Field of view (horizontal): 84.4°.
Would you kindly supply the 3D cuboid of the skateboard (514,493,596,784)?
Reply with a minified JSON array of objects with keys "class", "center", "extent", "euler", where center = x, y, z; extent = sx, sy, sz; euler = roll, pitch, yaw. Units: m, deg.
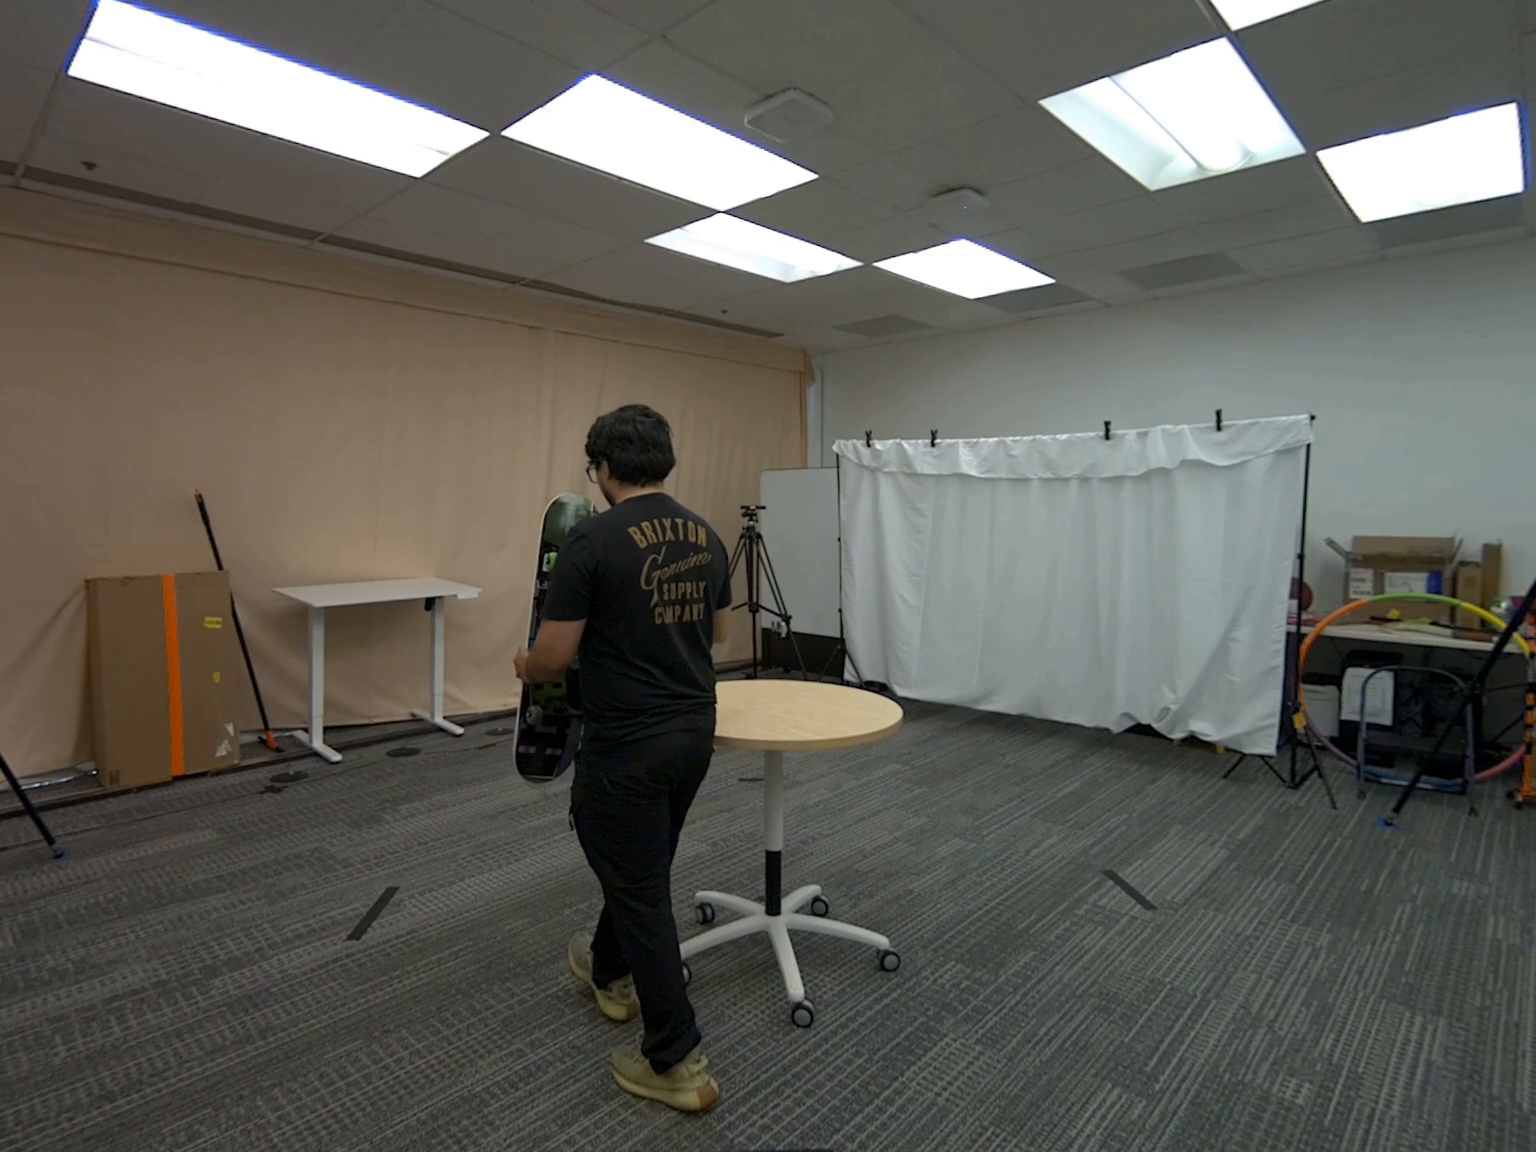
[{"class":"skateboard","center":[-0.544,0.171,2.249],"extent":[0.187,0.787,0.114],"euler":[7,-4,-36]}]
